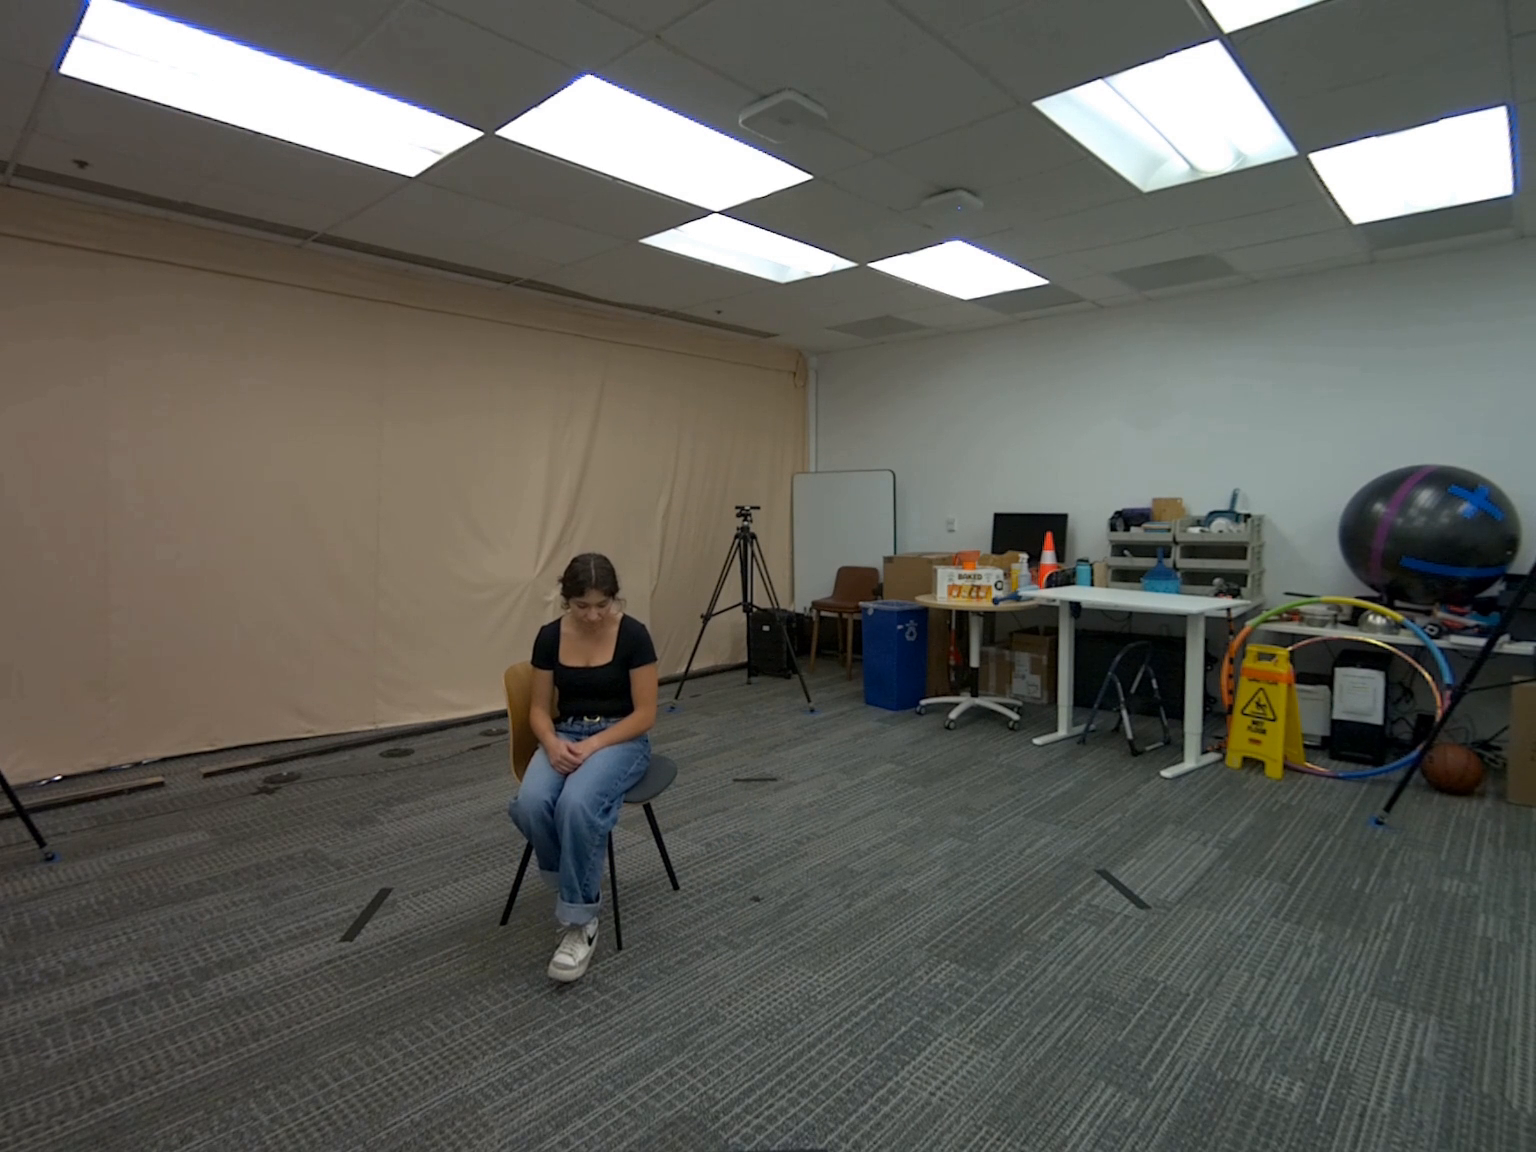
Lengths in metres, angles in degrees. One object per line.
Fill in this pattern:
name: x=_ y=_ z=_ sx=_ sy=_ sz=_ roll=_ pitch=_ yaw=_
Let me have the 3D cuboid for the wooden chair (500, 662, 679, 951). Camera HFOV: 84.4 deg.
wooden chair: x=-0.604 y=0.734 z=2.907 sx=0.534 sy=0.875 sz=0.469 roll=-3 pitch=4 yaw=20
